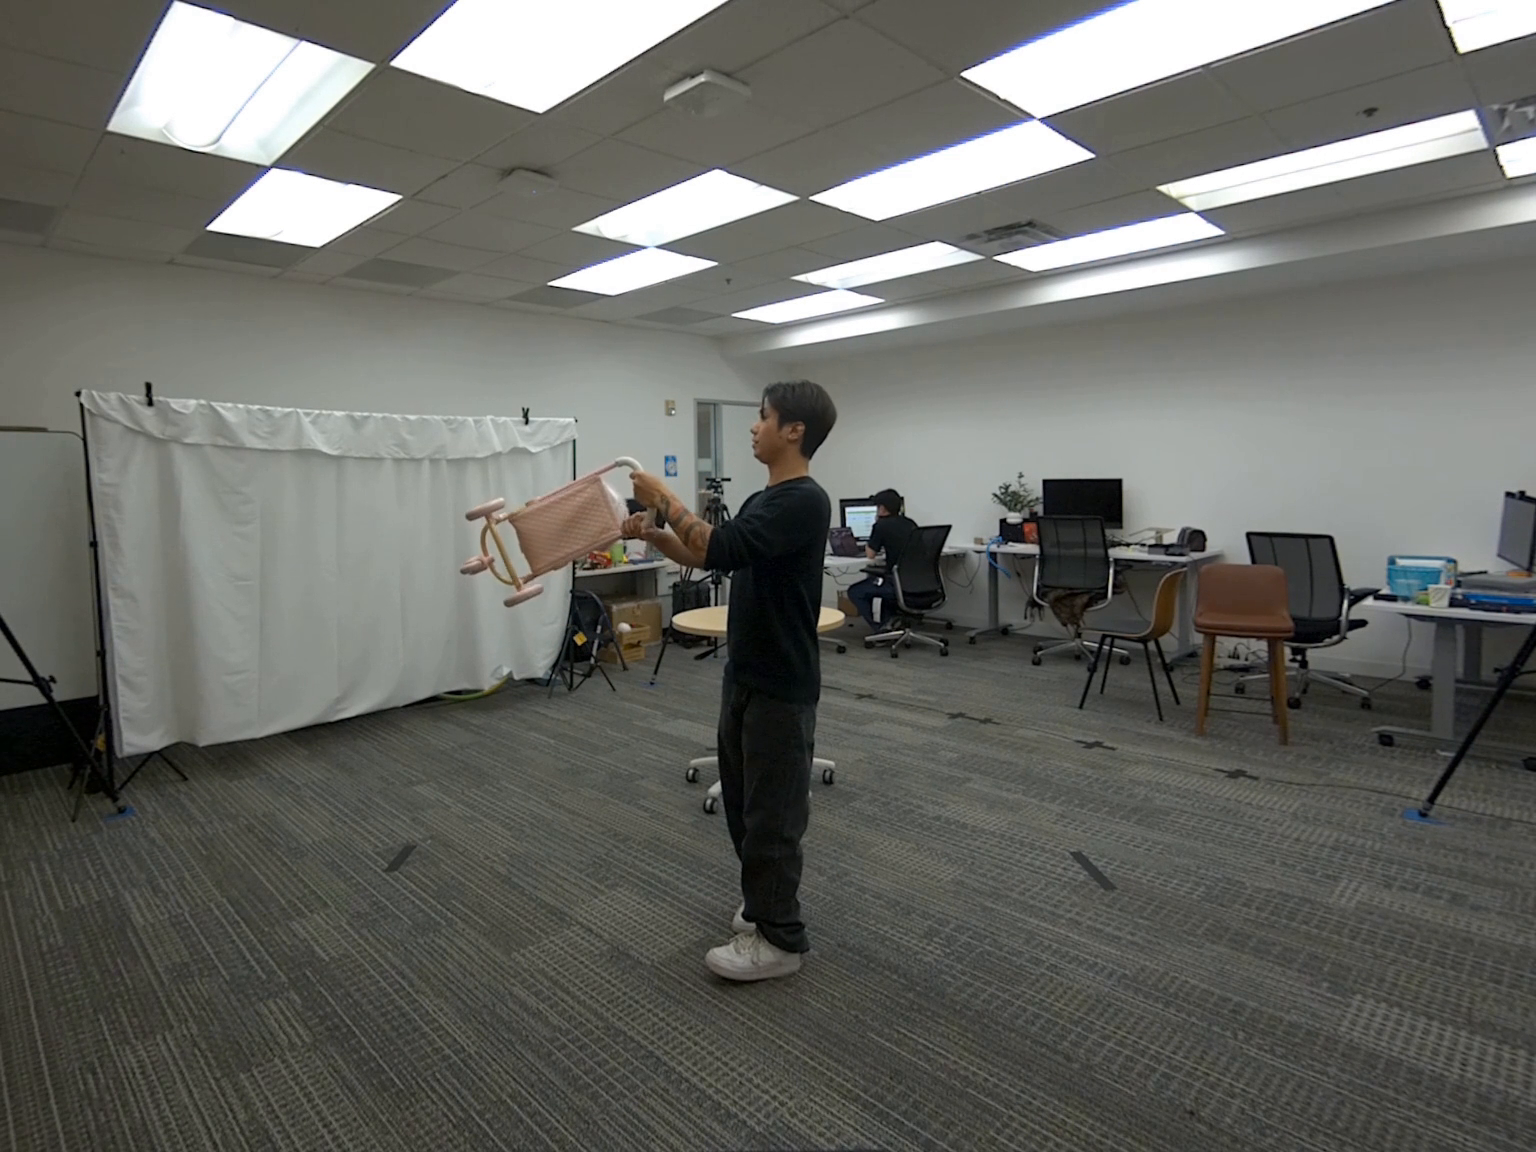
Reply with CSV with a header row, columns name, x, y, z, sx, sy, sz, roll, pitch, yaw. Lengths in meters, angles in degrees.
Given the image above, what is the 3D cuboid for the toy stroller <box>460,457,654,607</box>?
name,x,y,z,sx,sy,sz,roll,pitch,yaw
toy stroller,-0.599,-0.123,2.406,0.530,0.281,0.345,-28,4,-20
